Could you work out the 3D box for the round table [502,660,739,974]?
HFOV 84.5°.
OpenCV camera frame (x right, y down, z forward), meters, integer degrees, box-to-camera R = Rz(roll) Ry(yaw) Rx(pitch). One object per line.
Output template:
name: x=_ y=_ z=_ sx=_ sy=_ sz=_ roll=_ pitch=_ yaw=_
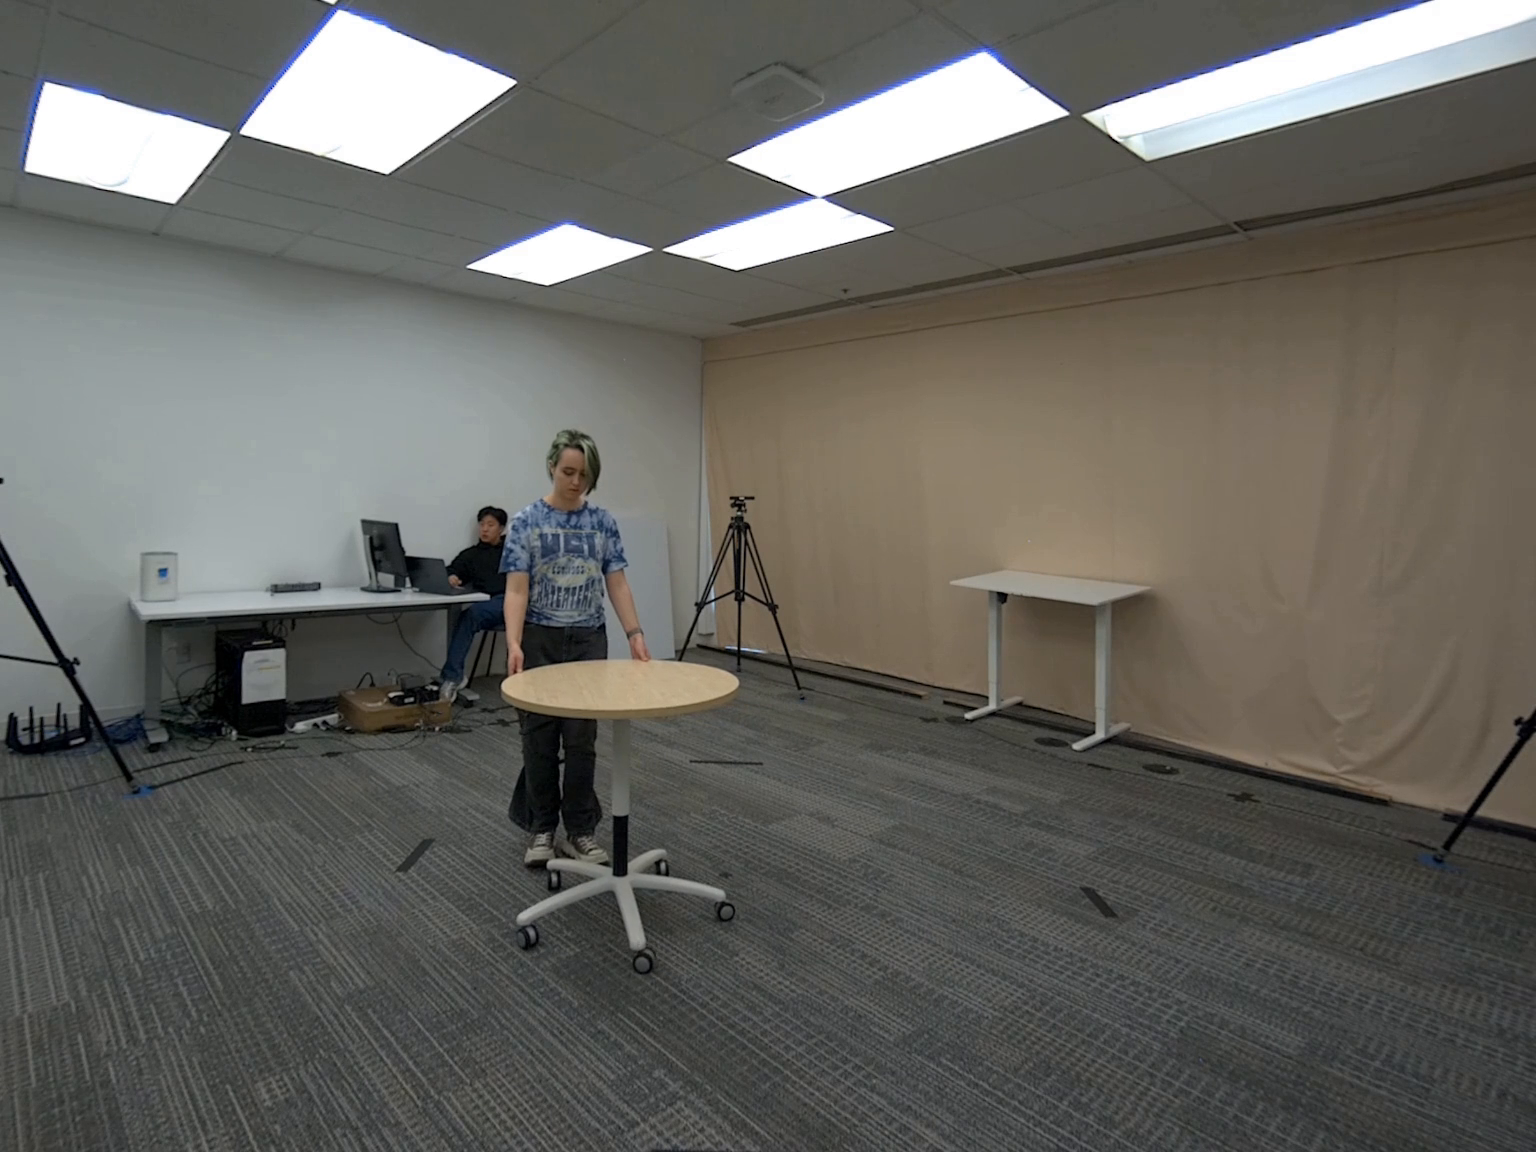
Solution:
round table: x=-0.483 y=0.738 z=2.767 sx=0.763 sy=0.792 sz=0.766 roll=1 pitch=4 yaw=-1
